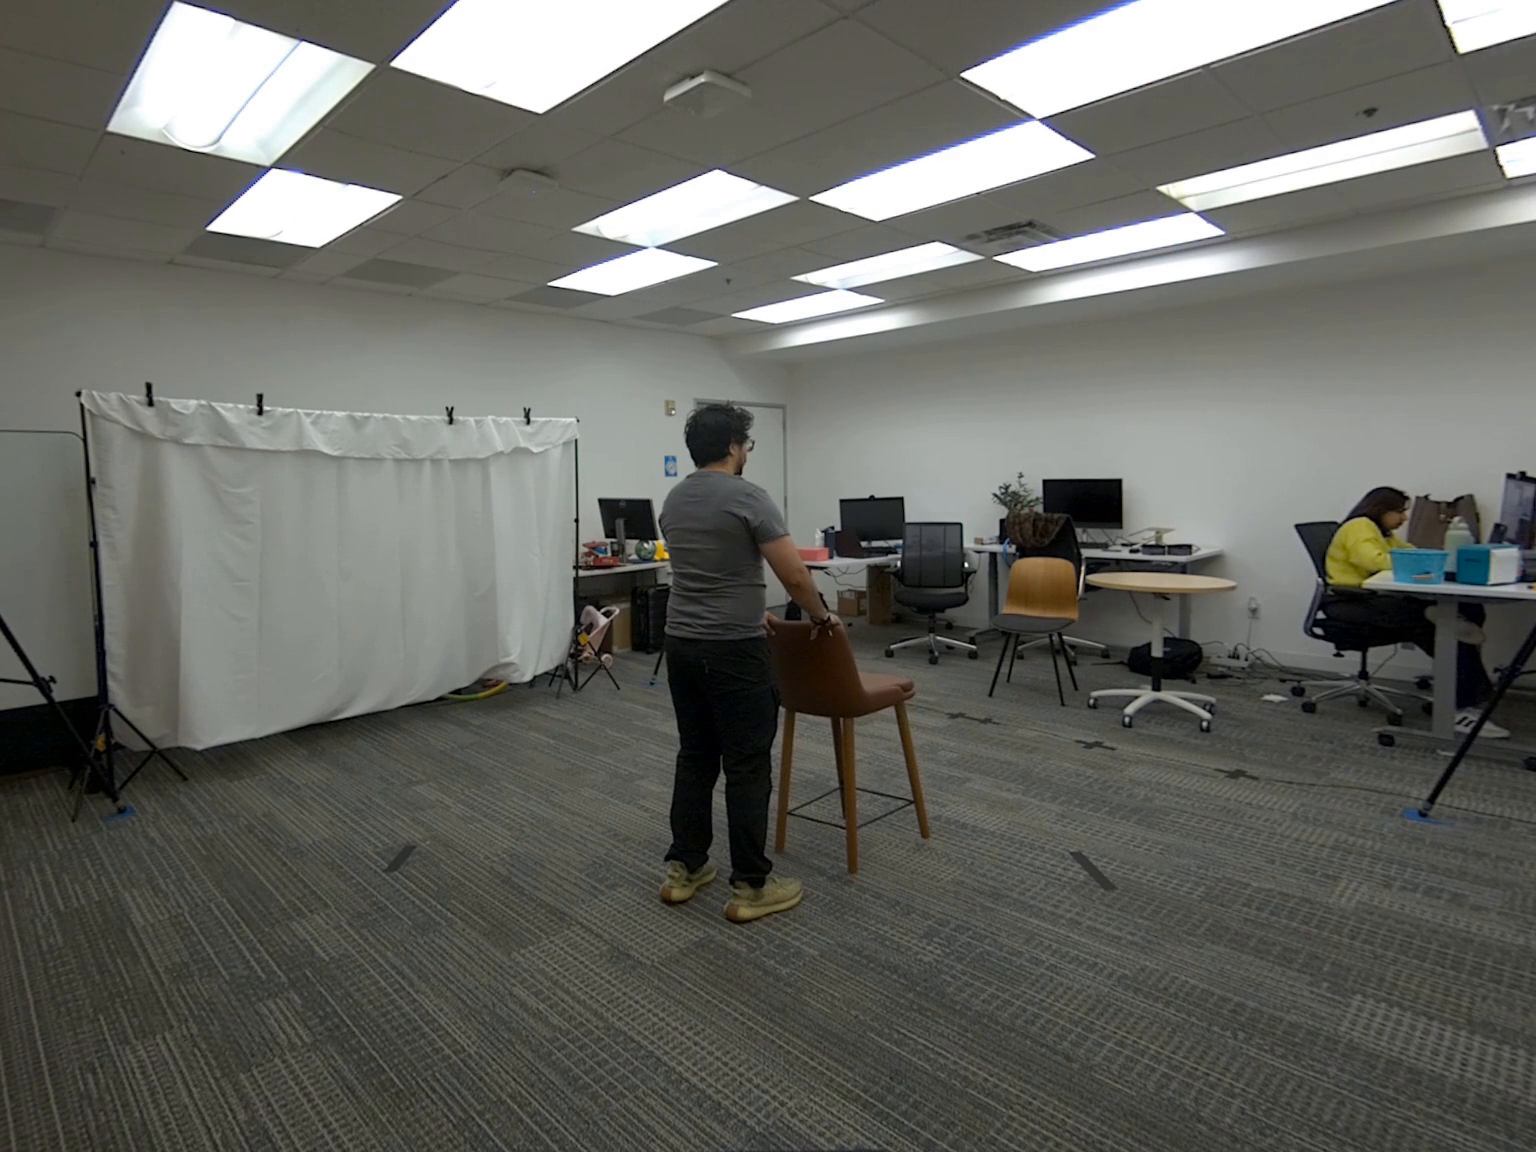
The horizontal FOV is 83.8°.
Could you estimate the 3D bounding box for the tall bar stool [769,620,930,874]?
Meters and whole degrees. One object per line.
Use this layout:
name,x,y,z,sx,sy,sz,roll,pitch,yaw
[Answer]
tall bar stool,0.276,0.576,3.212,0.456,0.888,0.469,-8,3,-44
